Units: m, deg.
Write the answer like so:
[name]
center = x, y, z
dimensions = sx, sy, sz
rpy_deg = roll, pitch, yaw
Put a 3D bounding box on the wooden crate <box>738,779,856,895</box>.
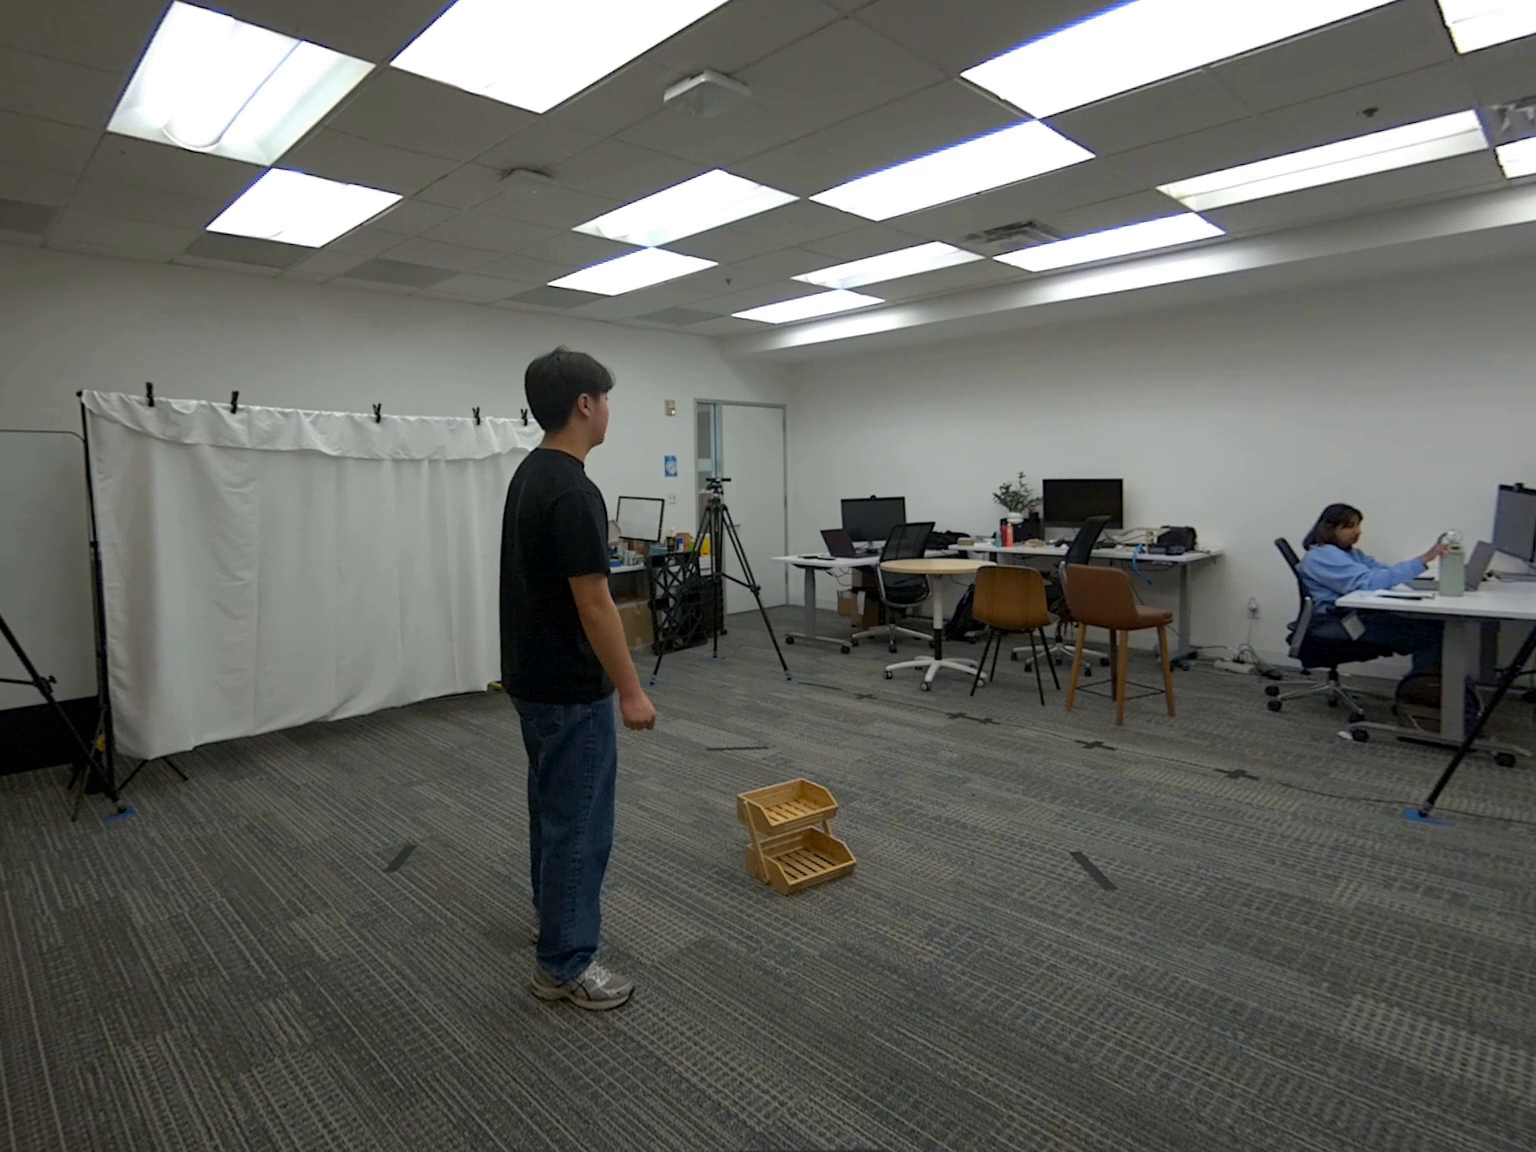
[wooden crate]
center = 0.105, 0.913, 3.035
dimensions = 0.316, 0.272, 0.311
rpy_deg = -5, 6, -35
